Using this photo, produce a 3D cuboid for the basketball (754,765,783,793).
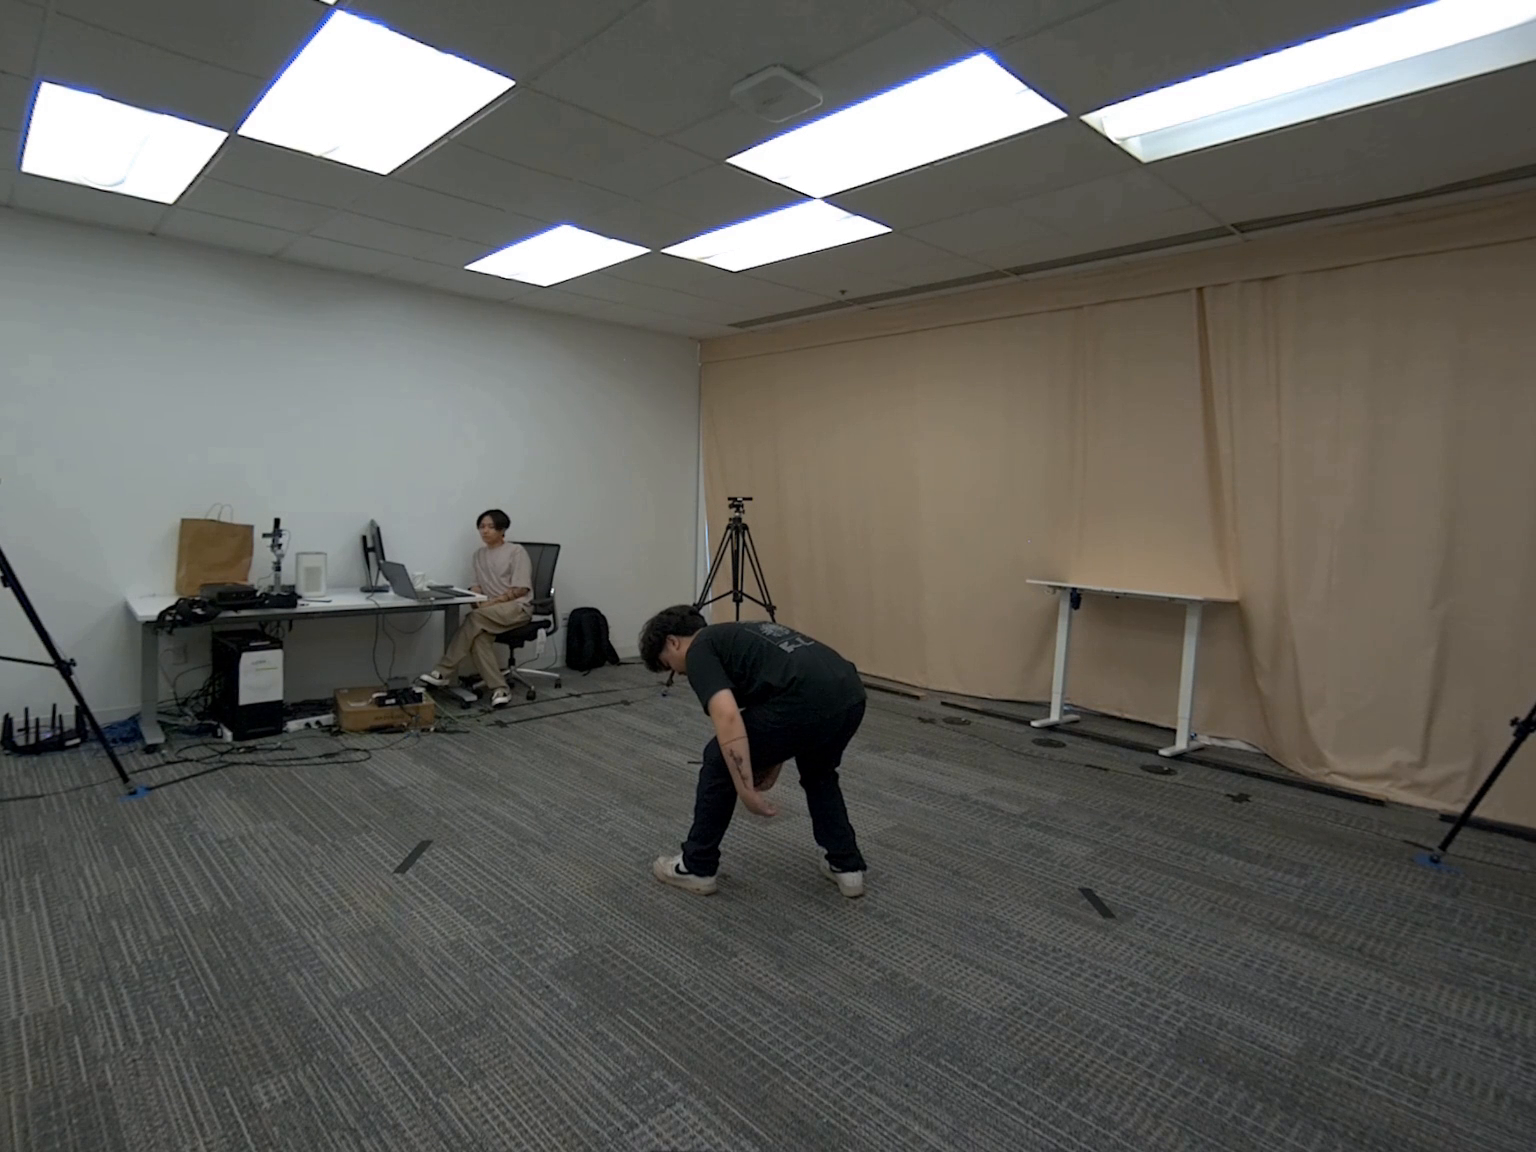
[{"bbox_3d":[-0.070,0.675,3.167,0.236,0.235,0.237,1,4,-1],"label":"basketball"}]
